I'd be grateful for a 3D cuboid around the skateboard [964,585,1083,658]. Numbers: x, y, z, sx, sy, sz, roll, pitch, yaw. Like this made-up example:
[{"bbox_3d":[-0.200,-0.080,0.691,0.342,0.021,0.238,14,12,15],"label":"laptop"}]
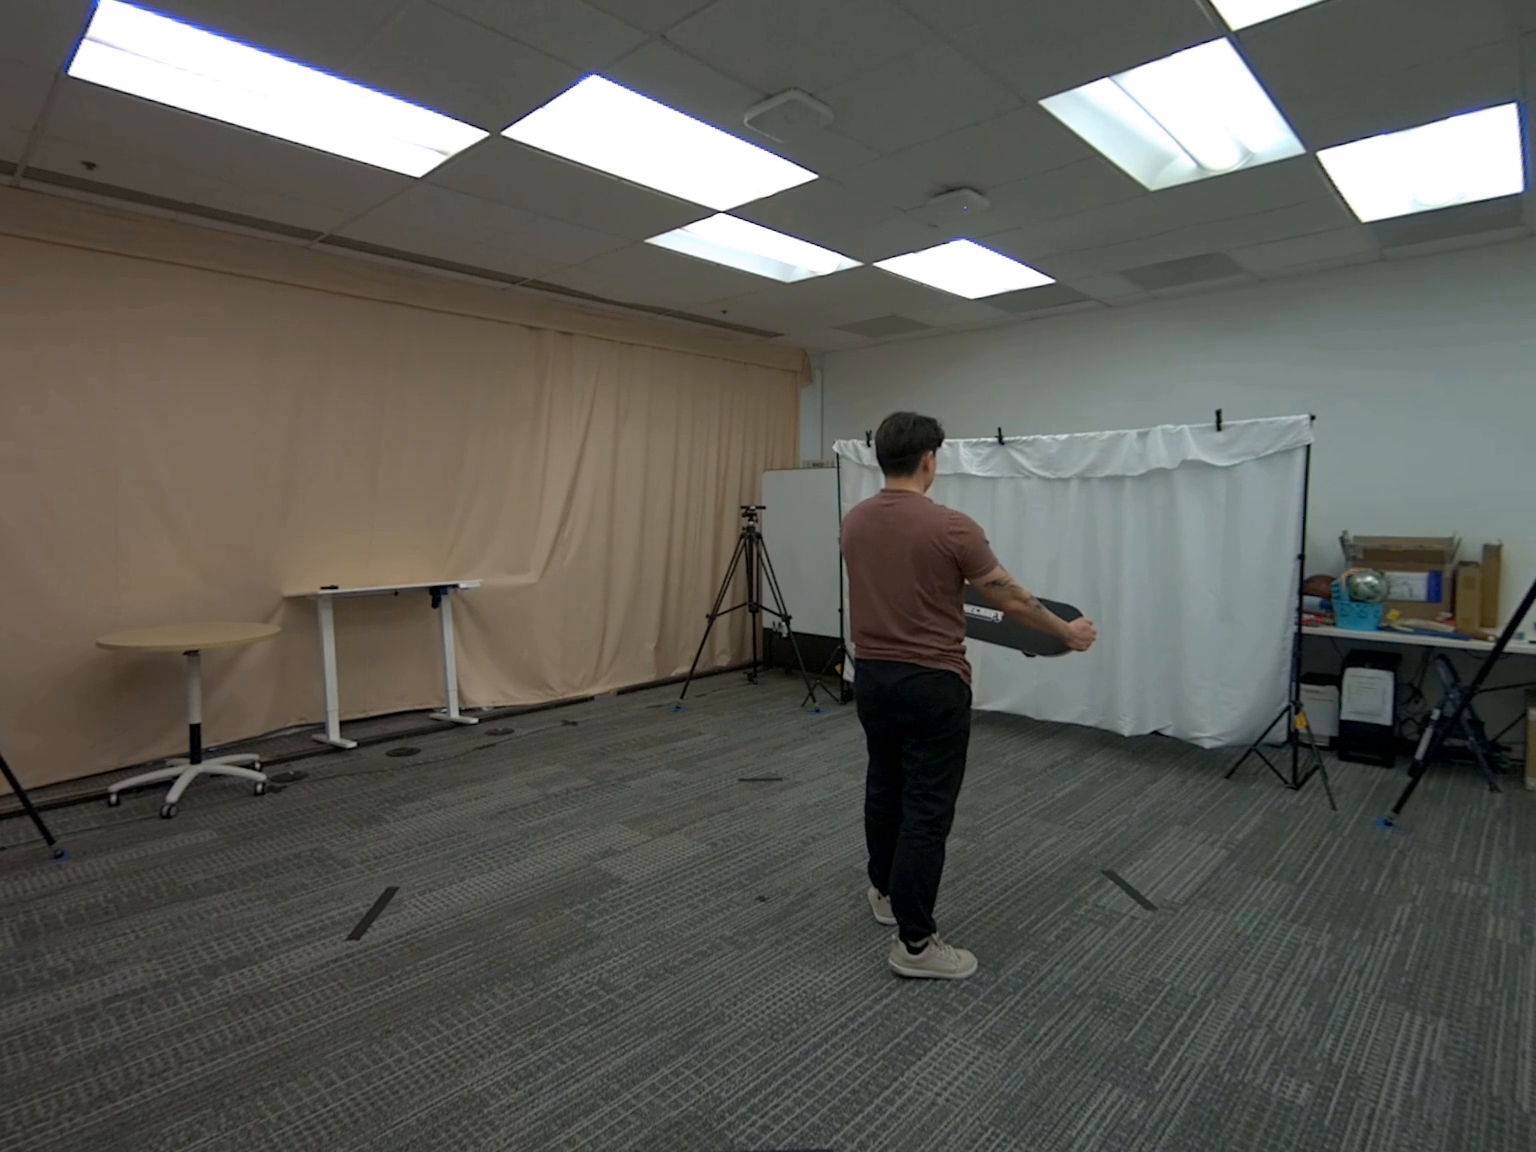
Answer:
[{"bbox_3d":[0.744,0.138,2.956,0.814,0.193,0.106,15,-15,47],"label":"skateboard"}]
